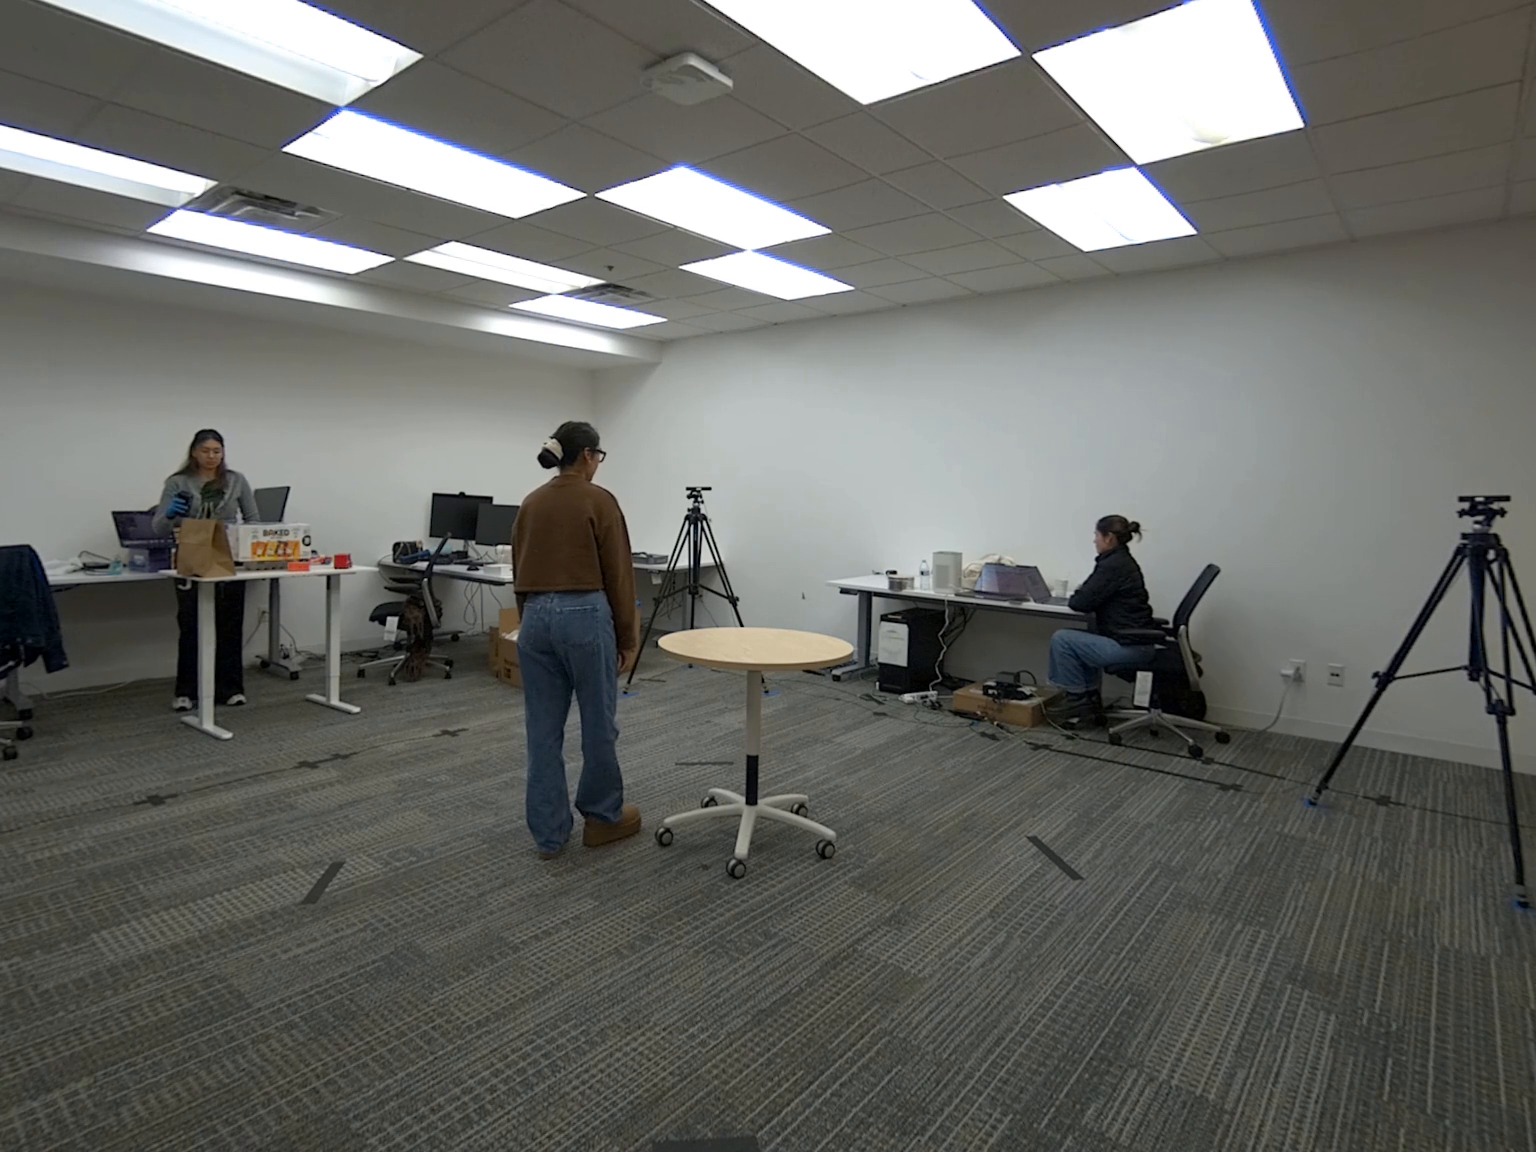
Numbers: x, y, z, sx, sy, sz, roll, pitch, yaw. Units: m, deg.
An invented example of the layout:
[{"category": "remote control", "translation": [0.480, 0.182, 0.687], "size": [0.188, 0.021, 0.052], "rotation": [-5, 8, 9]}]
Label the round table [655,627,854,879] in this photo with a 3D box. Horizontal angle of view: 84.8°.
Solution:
[{"category": "round table", "translation": [-0.070, 0.657, 3.366], "size": [0.763, 0.791, 0.768], "rotation": [1, 4, -2]}]
